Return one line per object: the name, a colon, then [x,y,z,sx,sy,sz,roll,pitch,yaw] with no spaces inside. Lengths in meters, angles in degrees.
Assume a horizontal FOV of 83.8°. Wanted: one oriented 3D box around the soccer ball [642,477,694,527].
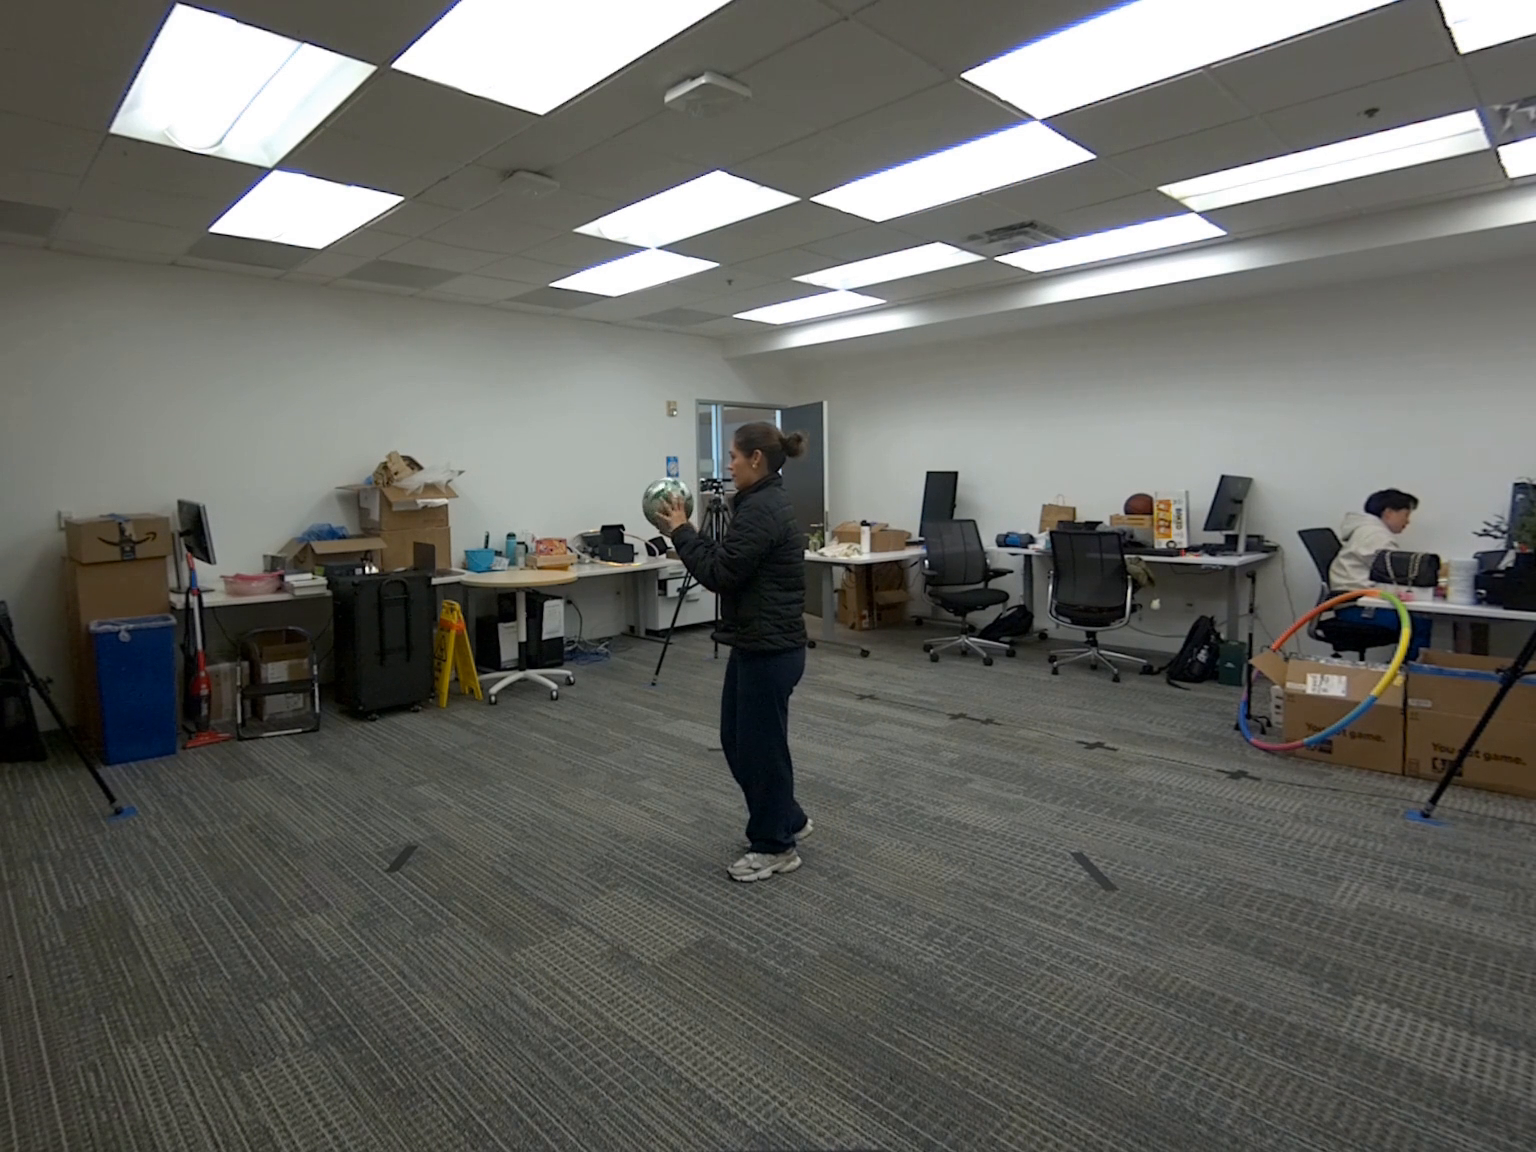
soccer ball: [-0.358,-0.258,3.085,0.187,0.187,0.188,-1,5,-2]
